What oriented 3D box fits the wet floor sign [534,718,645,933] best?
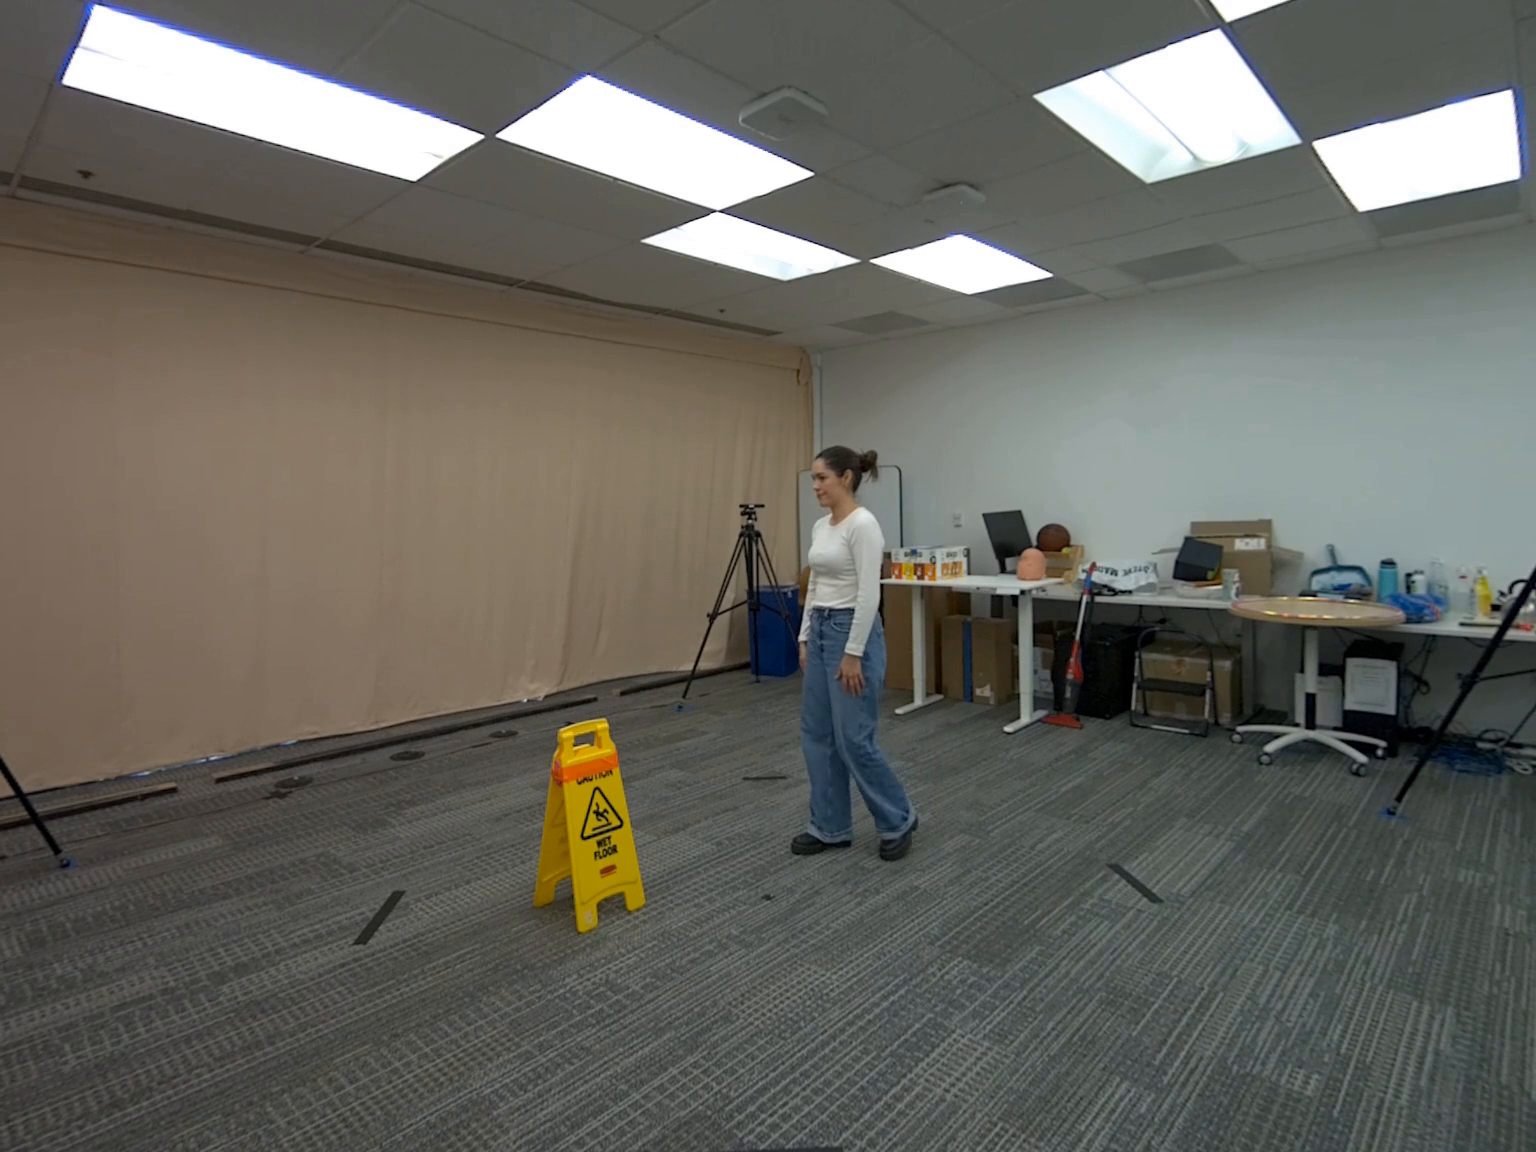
[{"bbox_3d":[-0.630,0.835,2.928,0.299,0.644,0.274,2,5,44],"label":"wet floor sign"}]
